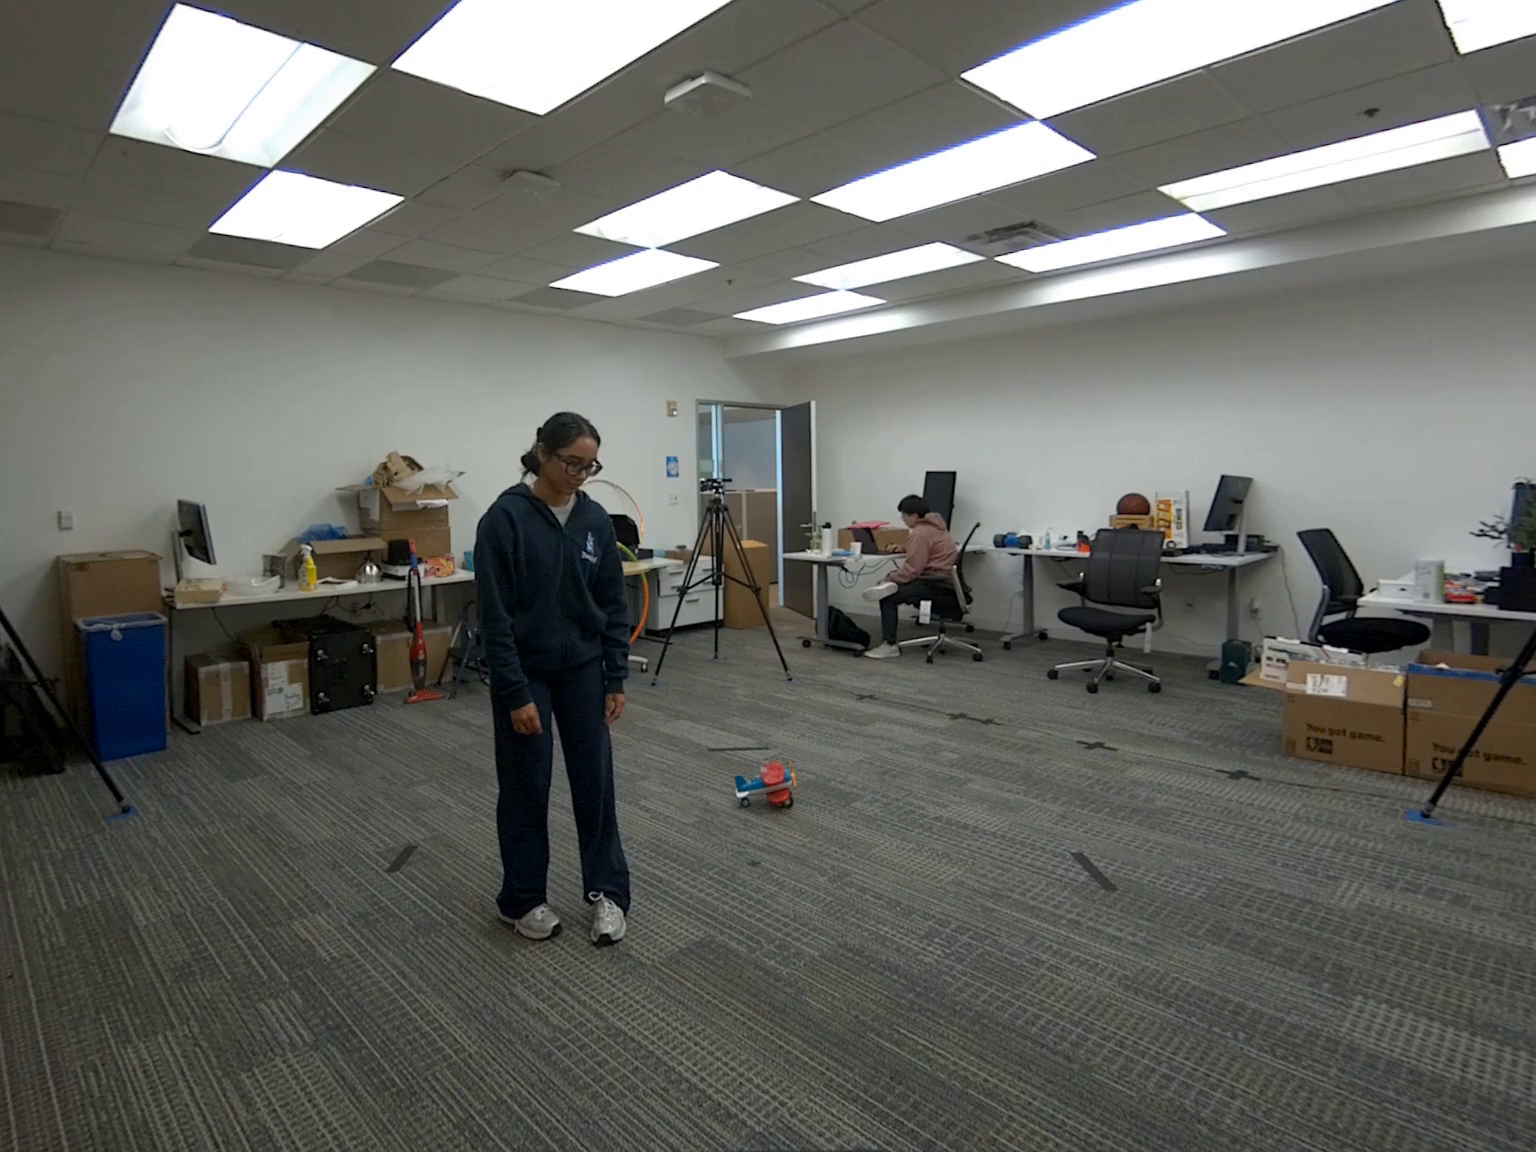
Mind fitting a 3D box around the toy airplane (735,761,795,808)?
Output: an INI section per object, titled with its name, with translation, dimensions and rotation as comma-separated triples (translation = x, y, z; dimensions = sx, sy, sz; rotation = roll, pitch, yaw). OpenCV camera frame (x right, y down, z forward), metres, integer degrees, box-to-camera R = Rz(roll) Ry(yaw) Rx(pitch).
[toy airplane]
translation = 0.001, 0.907, 3.646
dimensions = 0.253, 0.156, 0.258
rotation = -3, 6, -29
